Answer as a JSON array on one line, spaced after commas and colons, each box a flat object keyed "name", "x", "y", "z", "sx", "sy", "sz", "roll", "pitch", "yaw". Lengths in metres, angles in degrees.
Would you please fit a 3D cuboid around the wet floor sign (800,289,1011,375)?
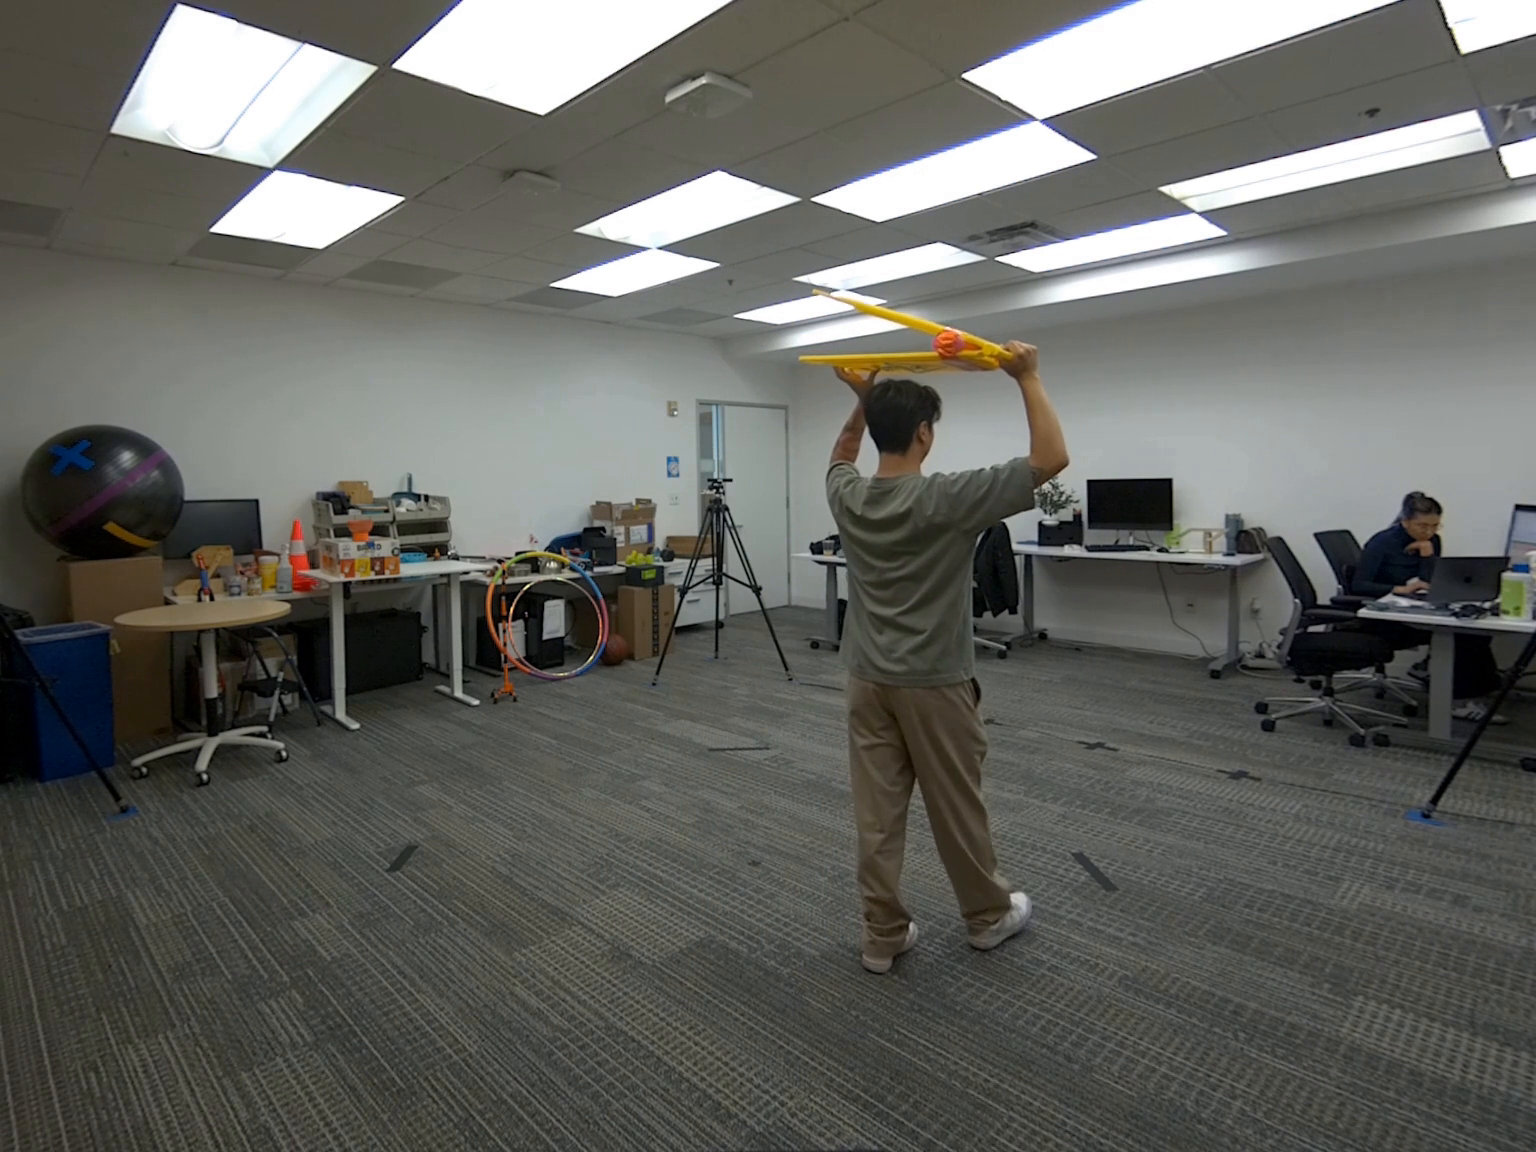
[{"name": "wet floor sign", "x": 0.443, "y": -0.673, "z": 2.485, "sx": 0.670, "sy": 0.288, "sz": 0.274, "roll": 21, "pitch": 13, "yaw": 41}]
